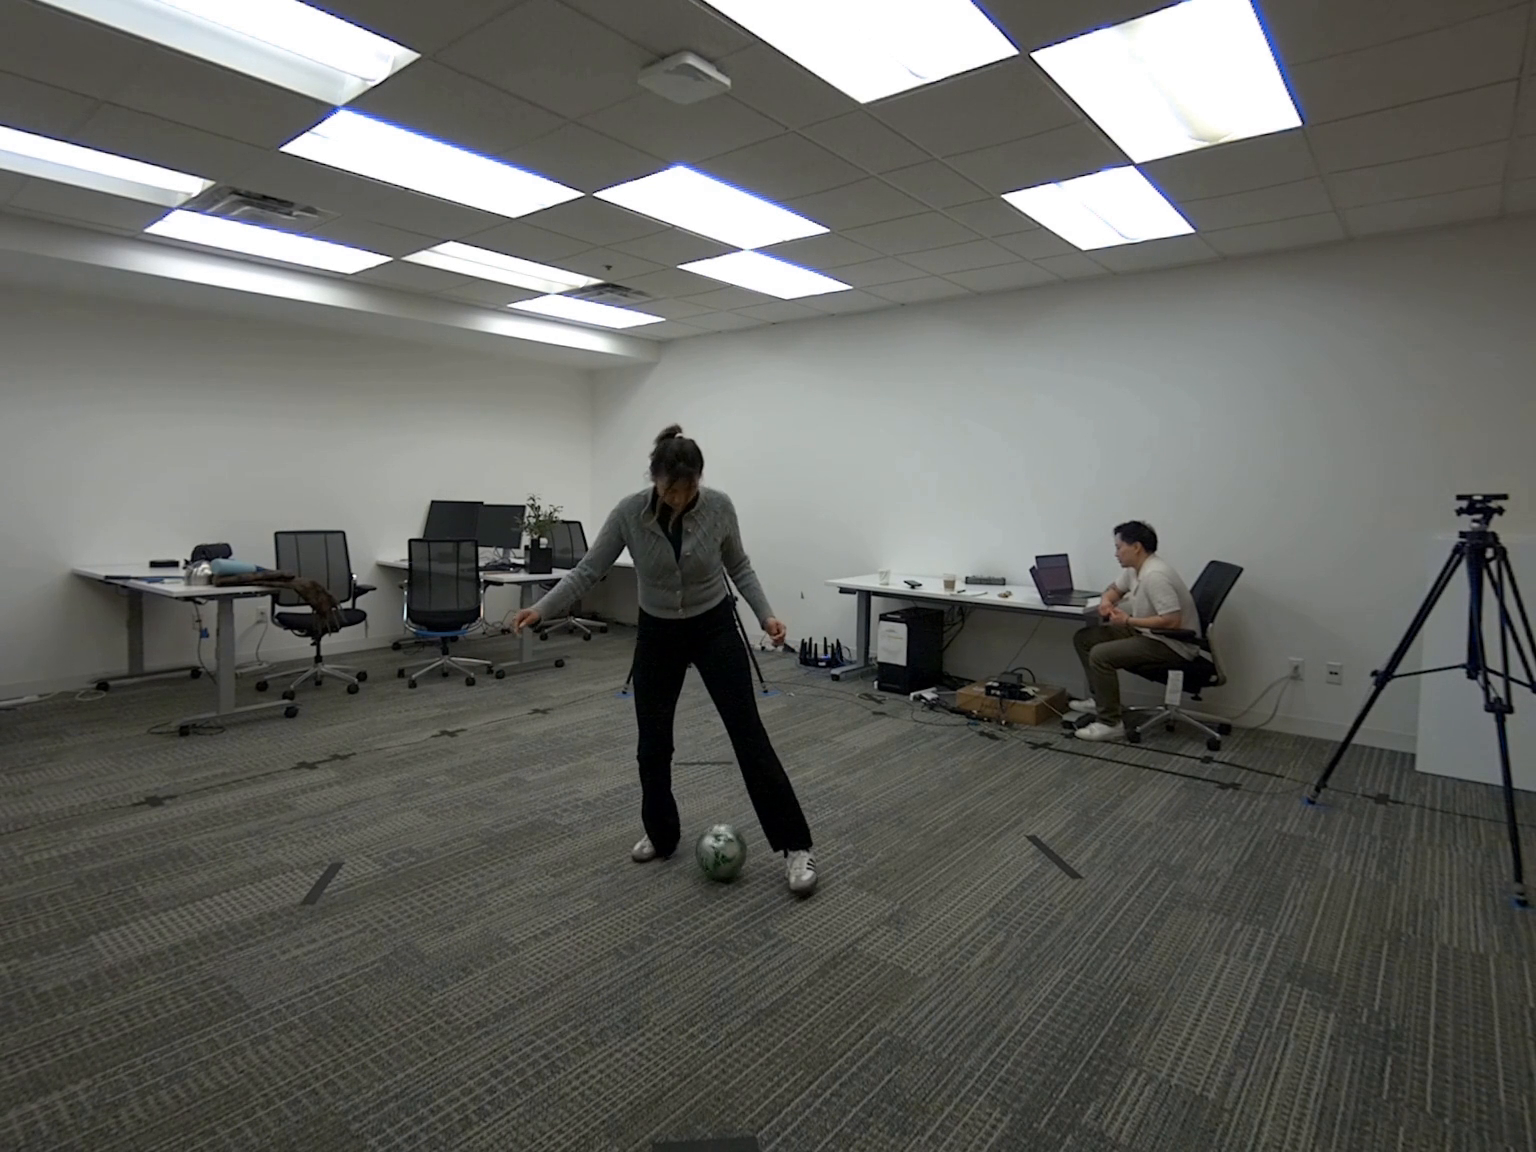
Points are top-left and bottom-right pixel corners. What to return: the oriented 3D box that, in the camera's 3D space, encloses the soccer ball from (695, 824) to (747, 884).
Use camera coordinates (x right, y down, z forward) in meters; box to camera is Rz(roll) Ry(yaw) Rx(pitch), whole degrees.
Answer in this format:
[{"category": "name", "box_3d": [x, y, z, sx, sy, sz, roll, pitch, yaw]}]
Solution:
[{"category": "soccer ball", "box_3d": [-0.183, 0.981, 3.035, 0.187, 0.187, 0.188, 1, 4, -2]}]
